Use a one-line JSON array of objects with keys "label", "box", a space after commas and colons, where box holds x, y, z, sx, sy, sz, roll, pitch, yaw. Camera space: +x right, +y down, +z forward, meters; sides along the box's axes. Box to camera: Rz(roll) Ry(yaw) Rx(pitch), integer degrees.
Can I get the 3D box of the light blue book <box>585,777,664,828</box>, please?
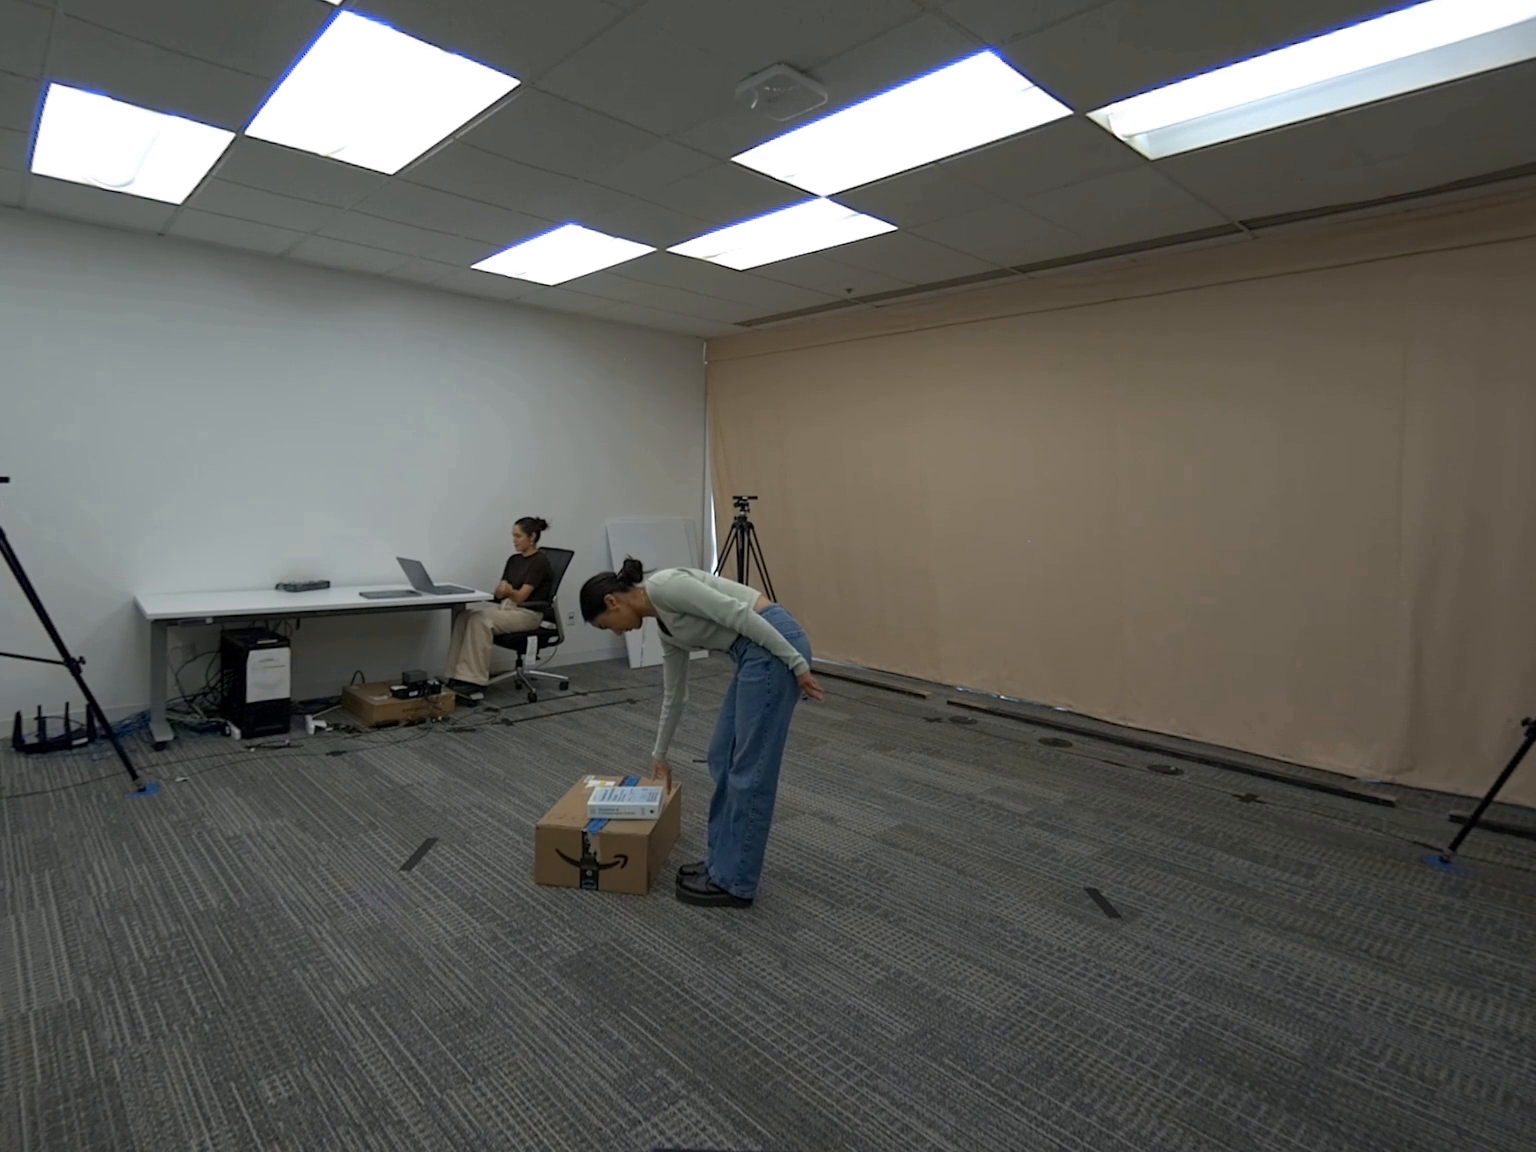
[{"label": "light blue book", "box": [-0.532, 0.843, 3.156, 0.261, 0.059, 0.192, 0, 5, 1]}]
